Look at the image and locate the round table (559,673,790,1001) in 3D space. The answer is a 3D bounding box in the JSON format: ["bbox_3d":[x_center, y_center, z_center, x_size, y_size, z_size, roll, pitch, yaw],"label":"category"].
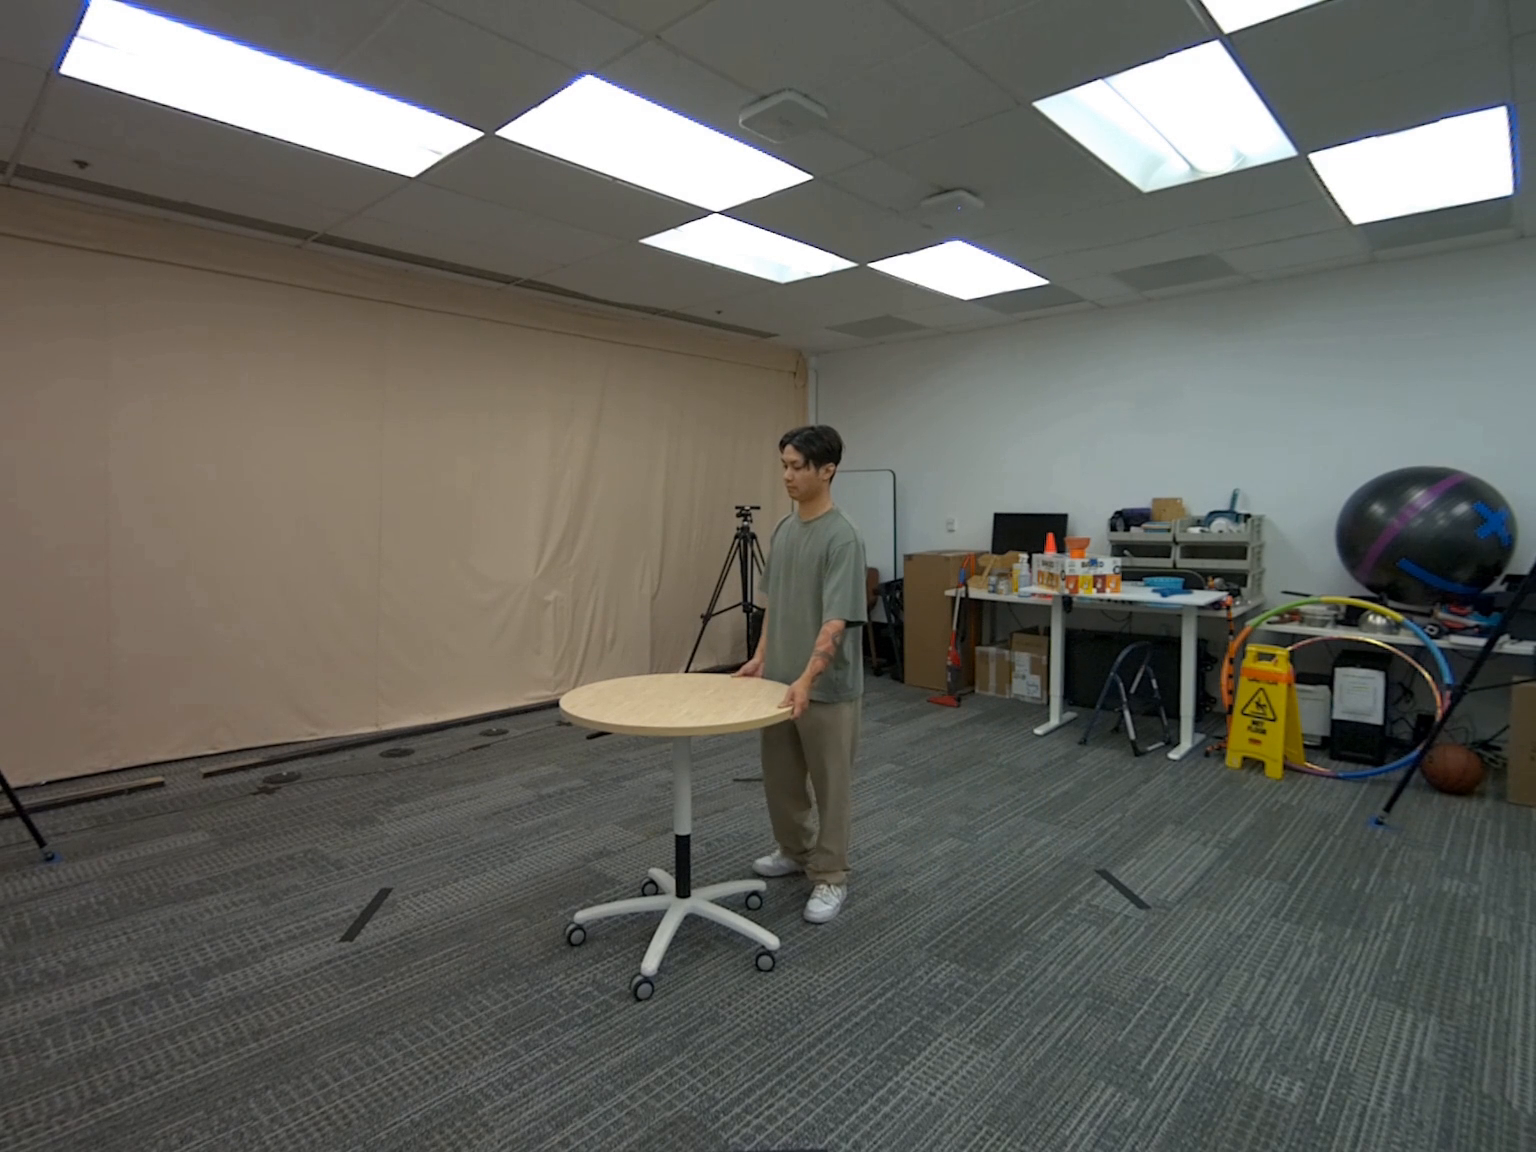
[{"bbox_3d":[-0.266,0.775,2.682,0.784,0.785,0.787,-1,3,-2],"label":"round table"}]
